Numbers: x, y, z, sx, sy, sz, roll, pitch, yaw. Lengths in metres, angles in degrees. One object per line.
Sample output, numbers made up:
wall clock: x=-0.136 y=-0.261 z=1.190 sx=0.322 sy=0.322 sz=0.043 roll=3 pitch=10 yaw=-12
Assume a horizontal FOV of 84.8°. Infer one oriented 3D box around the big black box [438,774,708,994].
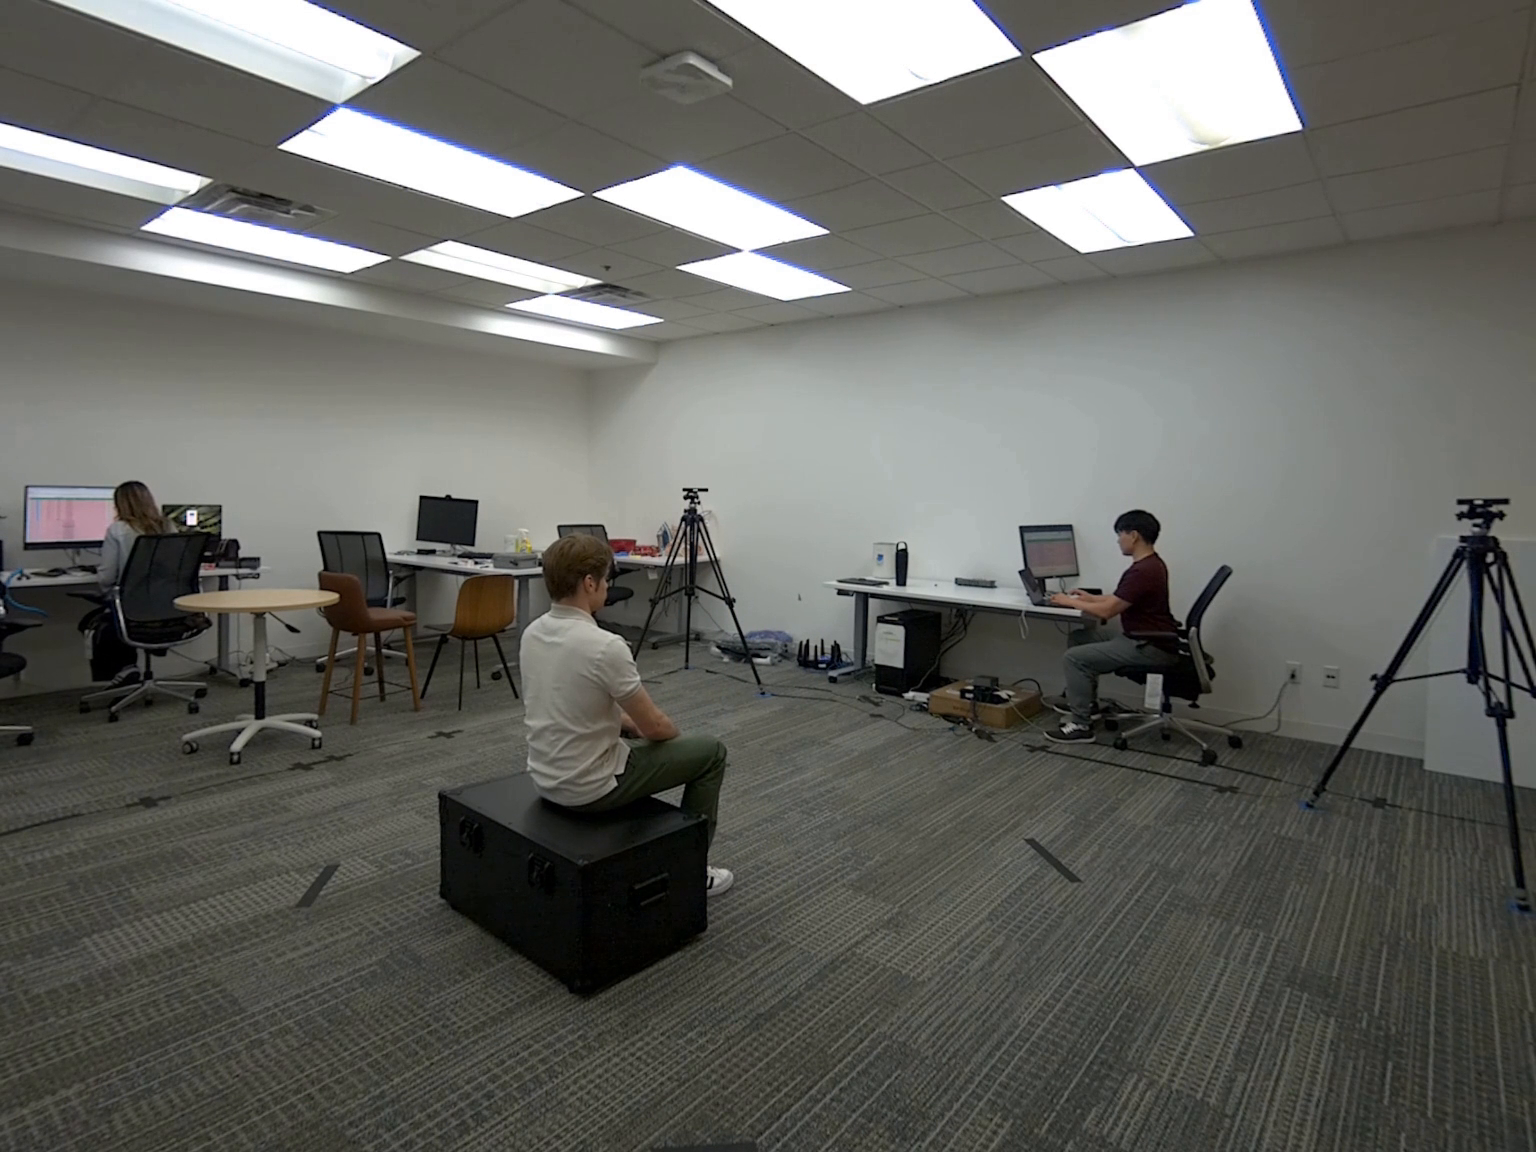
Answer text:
big black box: x=-0.671 y=0.906 z=2.741 sx=0.898 sy=0.383 sz=0.508 roll=6 pitch=8 yaw=42
